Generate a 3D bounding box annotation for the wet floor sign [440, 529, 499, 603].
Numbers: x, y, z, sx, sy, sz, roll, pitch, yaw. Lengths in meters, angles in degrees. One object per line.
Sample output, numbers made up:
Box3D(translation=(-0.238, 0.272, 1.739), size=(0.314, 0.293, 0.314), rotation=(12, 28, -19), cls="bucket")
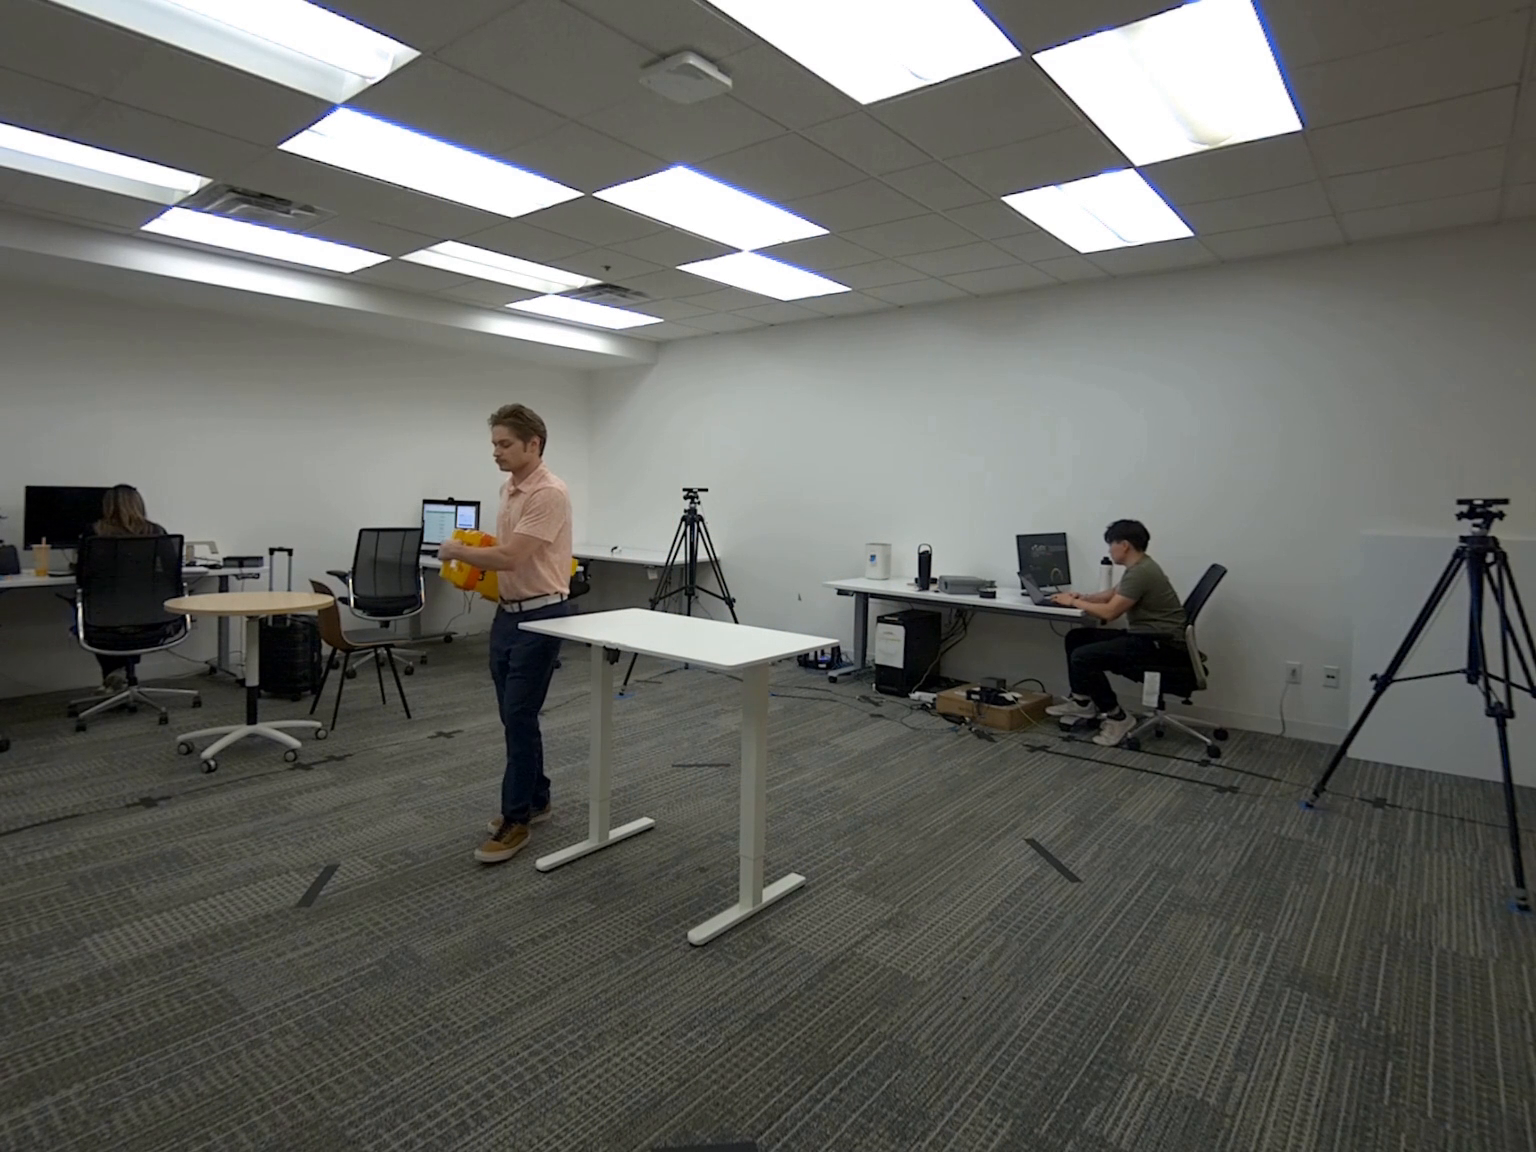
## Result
Box3D(translation=(-1.131, -0.024, 3.560), size=(0.299, 0.283, 0.623), rotation=(13, -6, 29), cls="wet floor sign")
